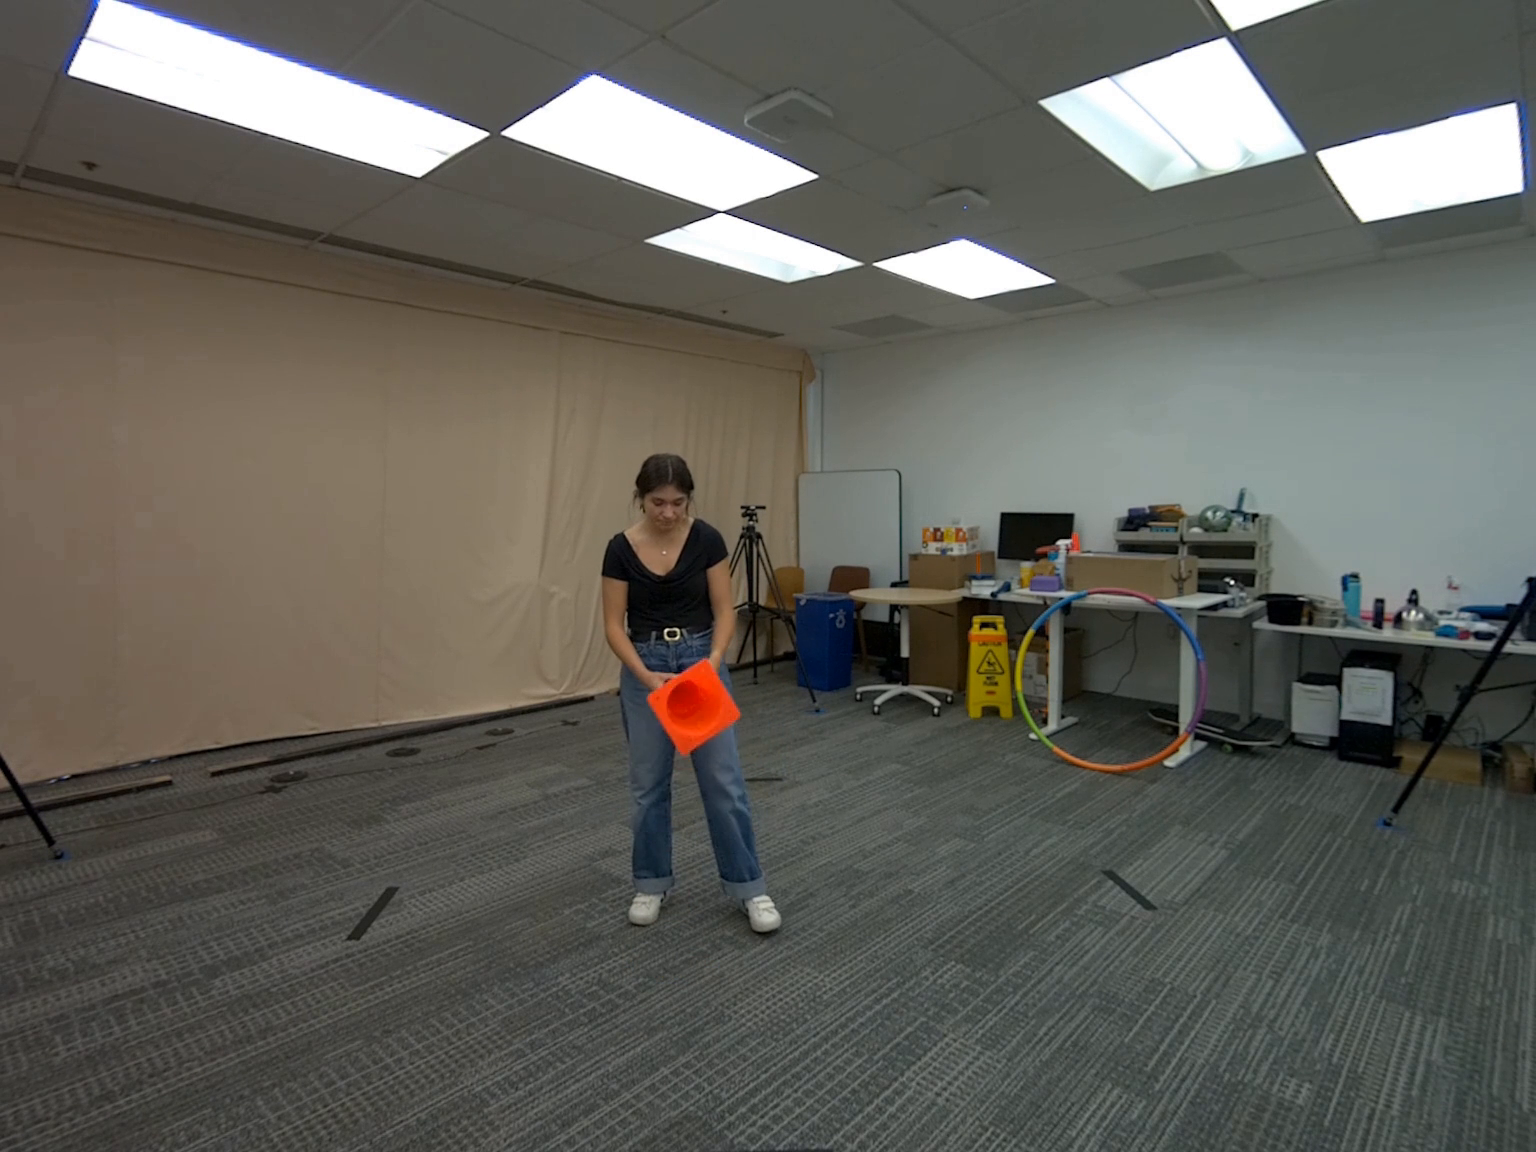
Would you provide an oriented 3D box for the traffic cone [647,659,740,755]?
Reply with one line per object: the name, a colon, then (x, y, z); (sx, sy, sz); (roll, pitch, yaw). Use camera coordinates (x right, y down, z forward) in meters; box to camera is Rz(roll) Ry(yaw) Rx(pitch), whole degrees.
traffic cone: (-0.242, 0.371, 2.526); (0.202, 0.204, 0.387); (-26, 3, -9)
